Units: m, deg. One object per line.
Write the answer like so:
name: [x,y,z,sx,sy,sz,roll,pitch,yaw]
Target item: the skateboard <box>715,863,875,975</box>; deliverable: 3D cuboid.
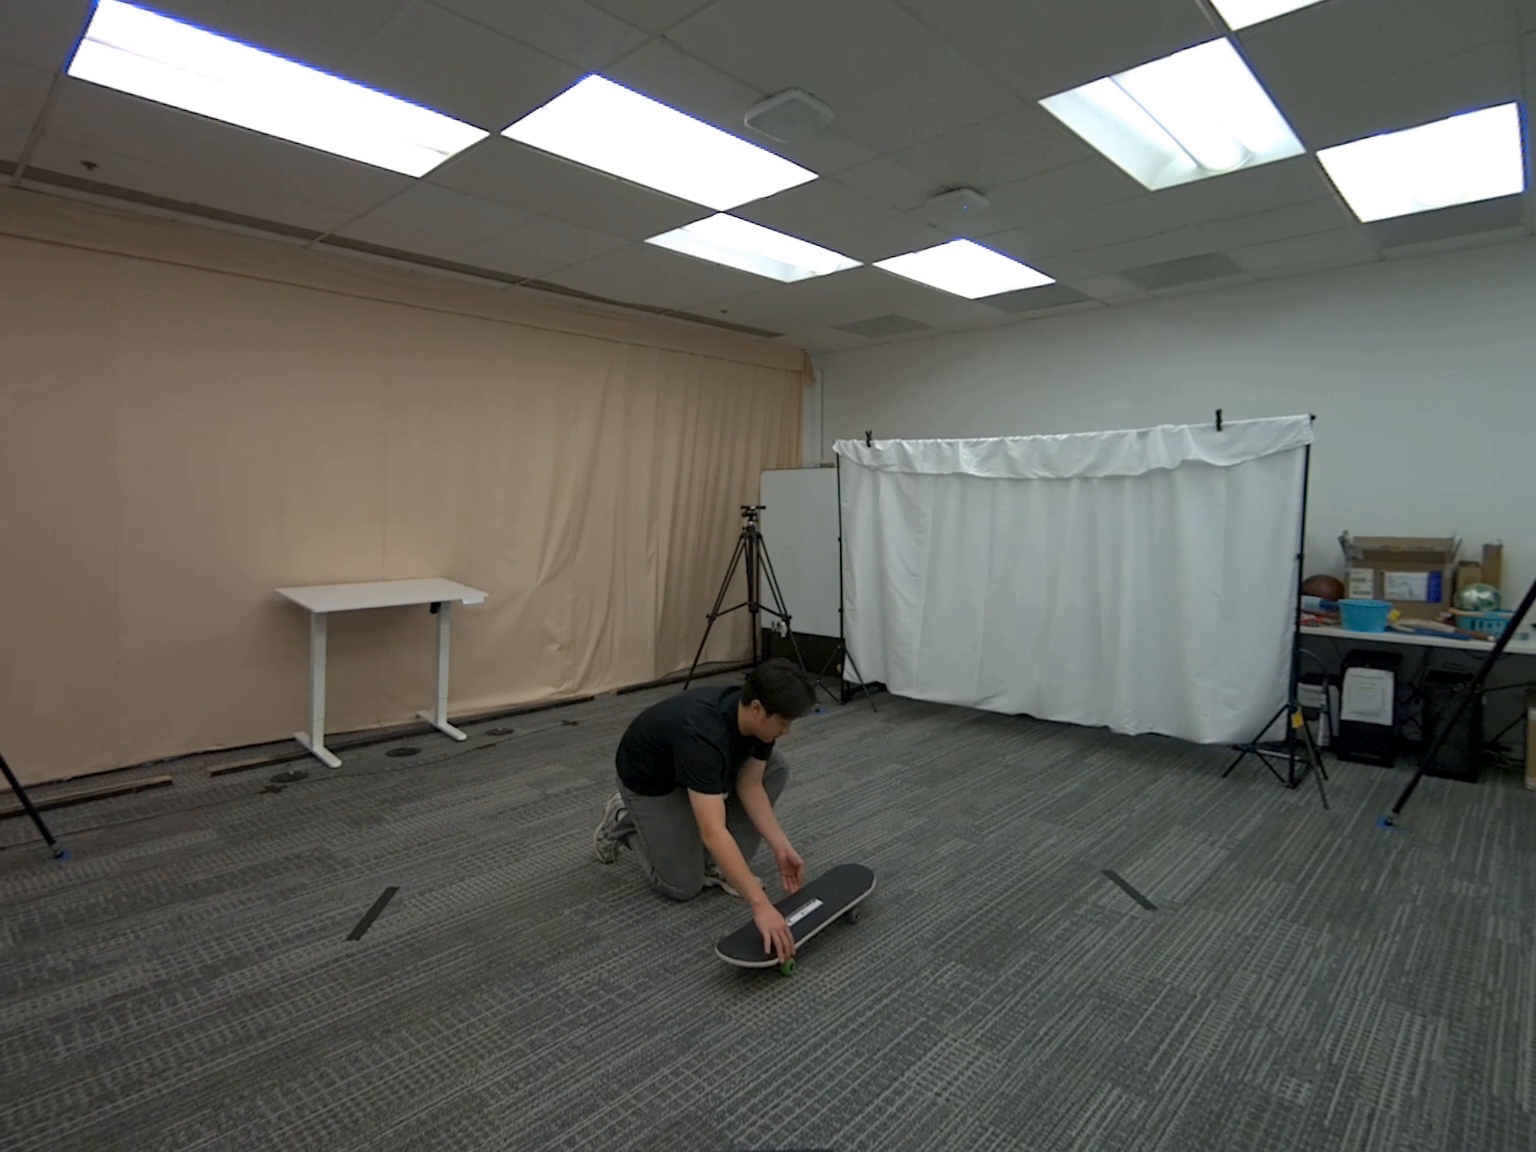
skateboard: [0.111,1.105,2.700,0.199,0.110,0.763,3,6,35]
